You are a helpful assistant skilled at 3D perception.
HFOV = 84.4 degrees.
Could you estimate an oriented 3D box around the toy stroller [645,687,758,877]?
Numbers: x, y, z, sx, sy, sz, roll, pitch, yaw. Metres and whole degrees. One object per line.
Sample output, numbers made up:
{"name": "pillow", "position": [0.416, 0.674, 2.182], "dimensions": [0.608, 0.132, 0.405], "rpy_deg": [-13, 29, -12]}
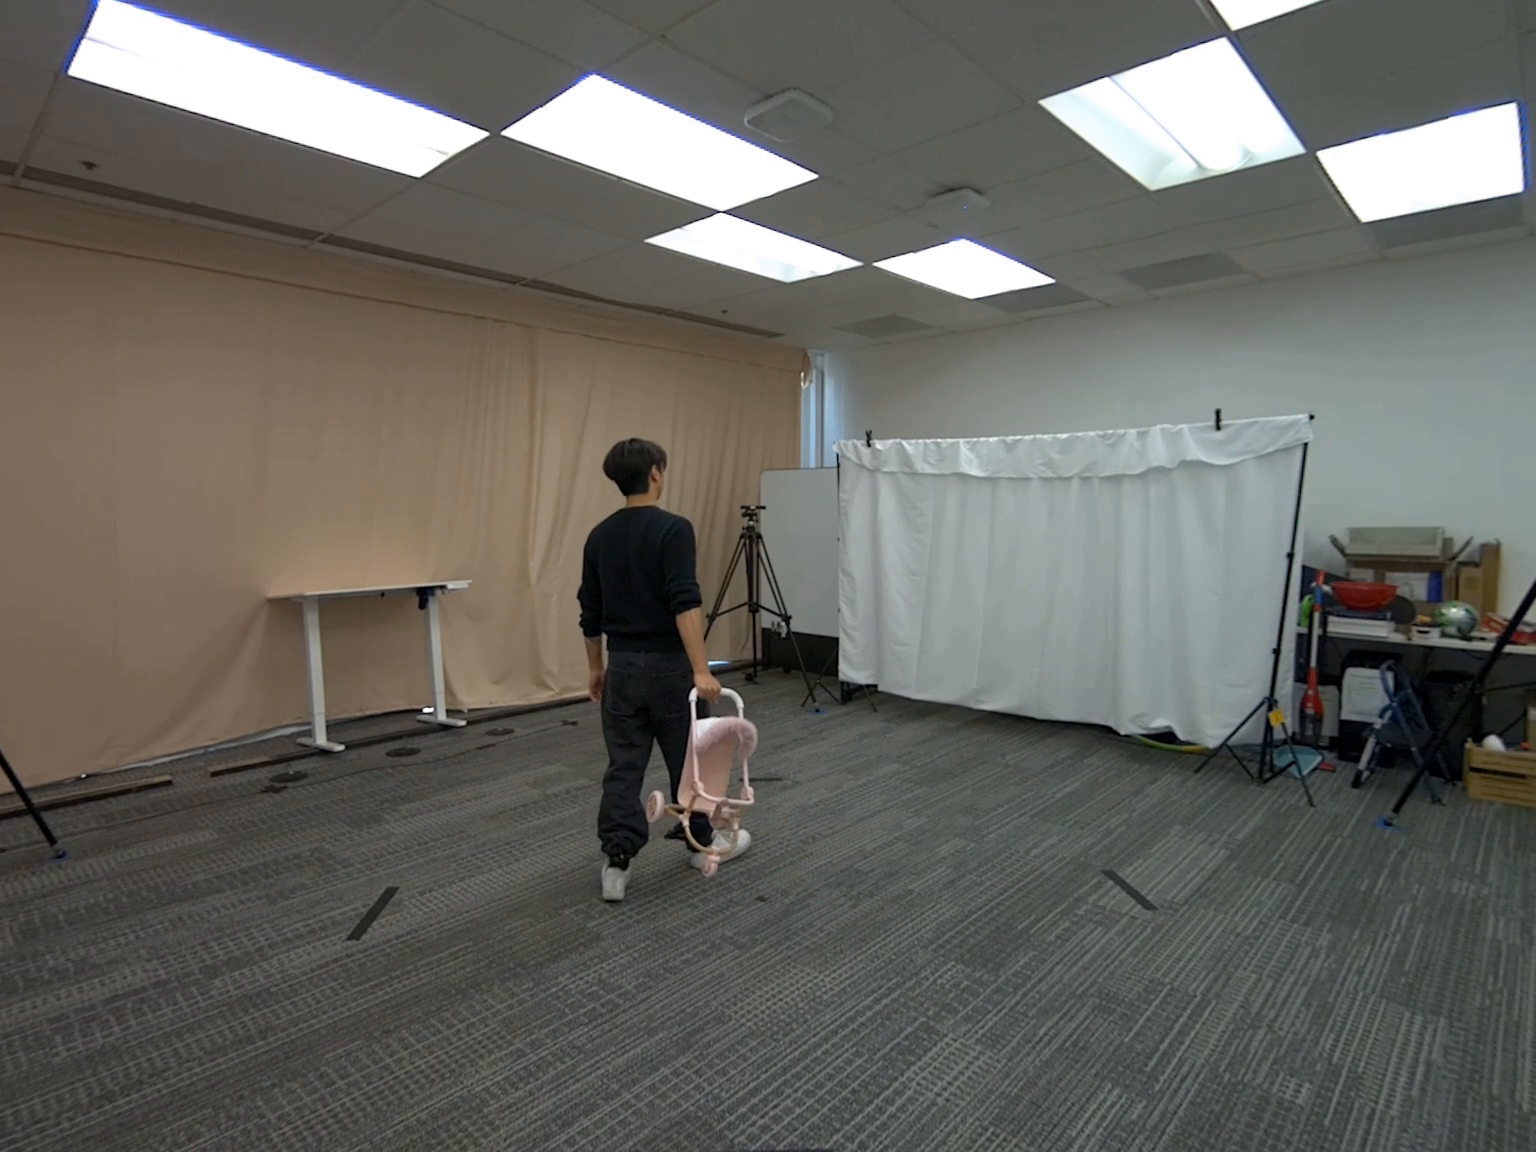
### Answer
{"name": "toy stroller", "position": [-0.170, 0.673, 2.777], "dimensions": [0.274, 0.534, 0.351], "rpy_deg": [16, 2, -26]}
